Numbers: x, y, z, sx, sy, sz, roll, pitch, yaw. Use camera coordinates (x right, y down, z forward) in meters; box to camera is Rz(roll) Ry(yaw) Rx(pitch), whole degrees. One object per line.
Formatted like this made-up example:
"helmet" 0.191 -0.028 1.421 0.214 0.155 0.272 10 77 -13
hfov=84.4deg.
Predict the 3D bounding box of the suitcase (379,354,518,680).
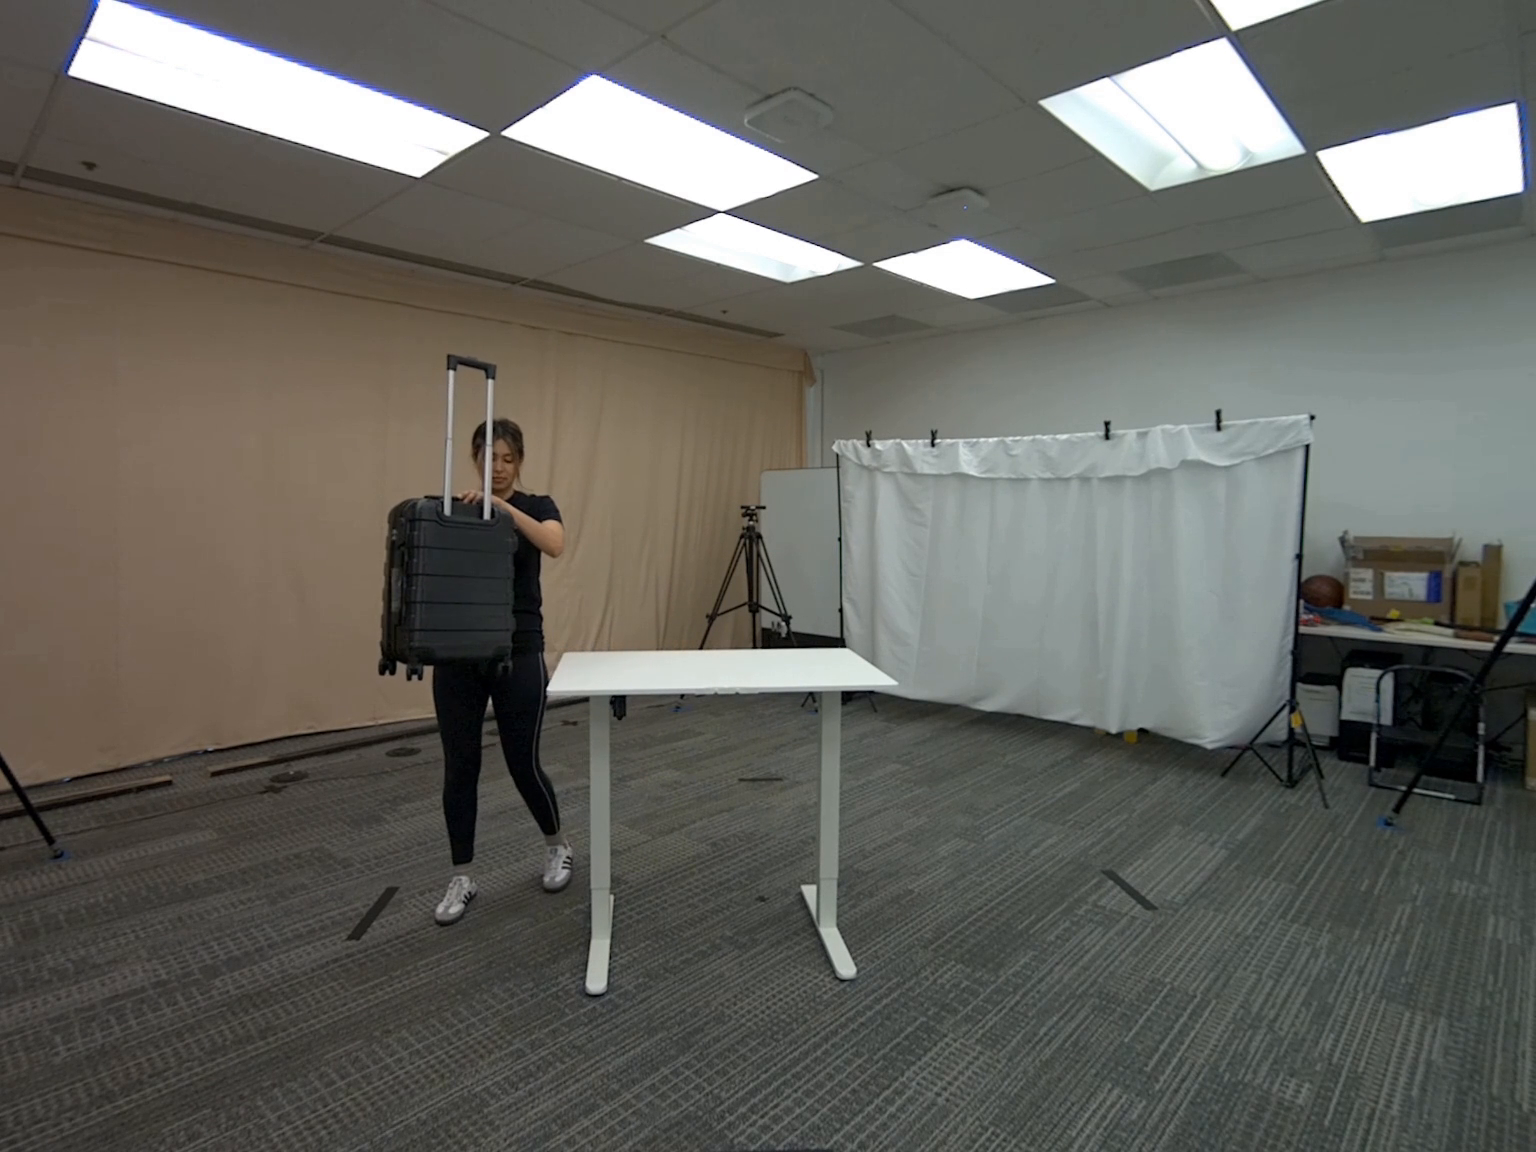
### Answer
"suitcase" -0.994 -0.174 2.639 0.371 0.983 0.264 5 -9 -44
